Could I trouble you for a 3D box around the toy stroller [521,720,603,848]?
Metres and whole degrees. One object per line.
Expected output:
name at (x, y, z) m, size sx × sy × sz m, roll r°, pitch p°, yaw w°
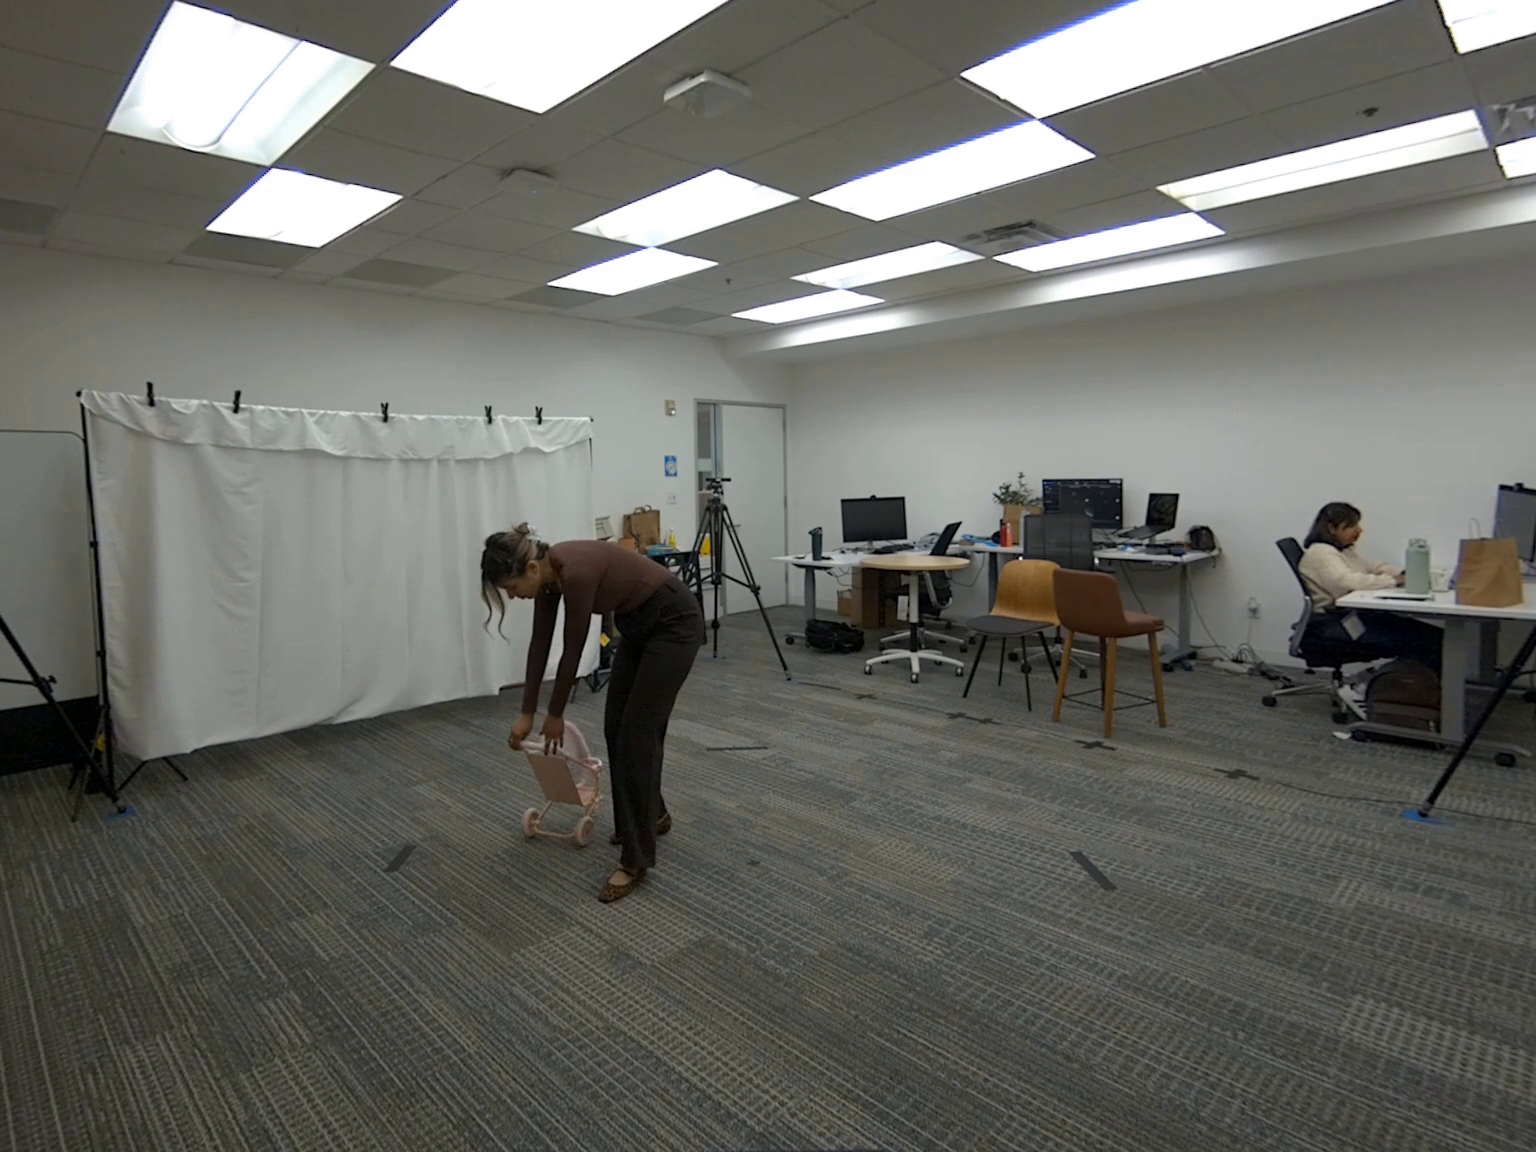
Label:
toy stroller at (-0.798, 0.802, 3.375) m, size 0.288 × 0.525 × 0.340 m, roll 2°, pitch 21°, yaw 24°
